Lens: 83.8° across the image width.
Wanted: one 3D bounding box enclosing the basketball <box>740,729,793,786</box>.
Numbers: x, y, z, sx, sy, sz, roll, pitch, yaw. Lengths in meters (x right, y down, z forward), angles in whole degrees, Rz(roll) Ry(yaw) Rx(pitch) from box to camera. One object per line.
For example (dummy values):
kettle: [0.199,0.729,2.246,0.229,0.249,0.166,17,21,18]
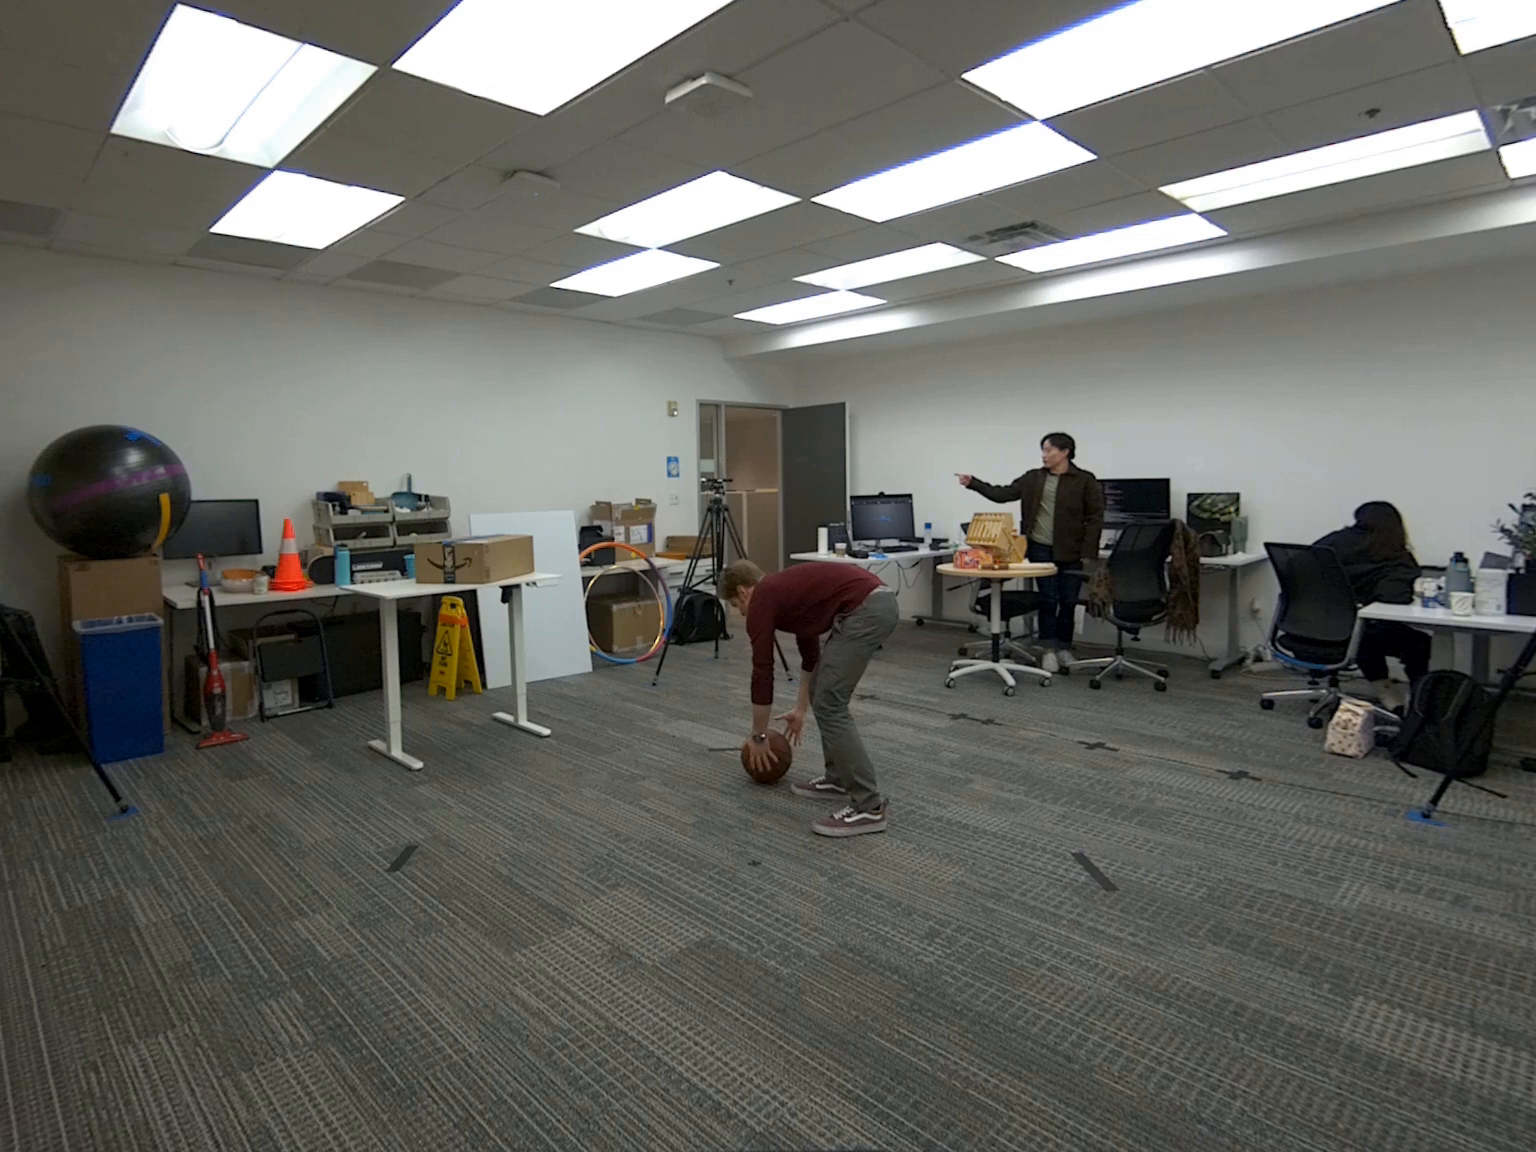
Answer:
basketball: [-0.005,0.829,3.956,0.236,0.235,0.237,-1,5,-2]
